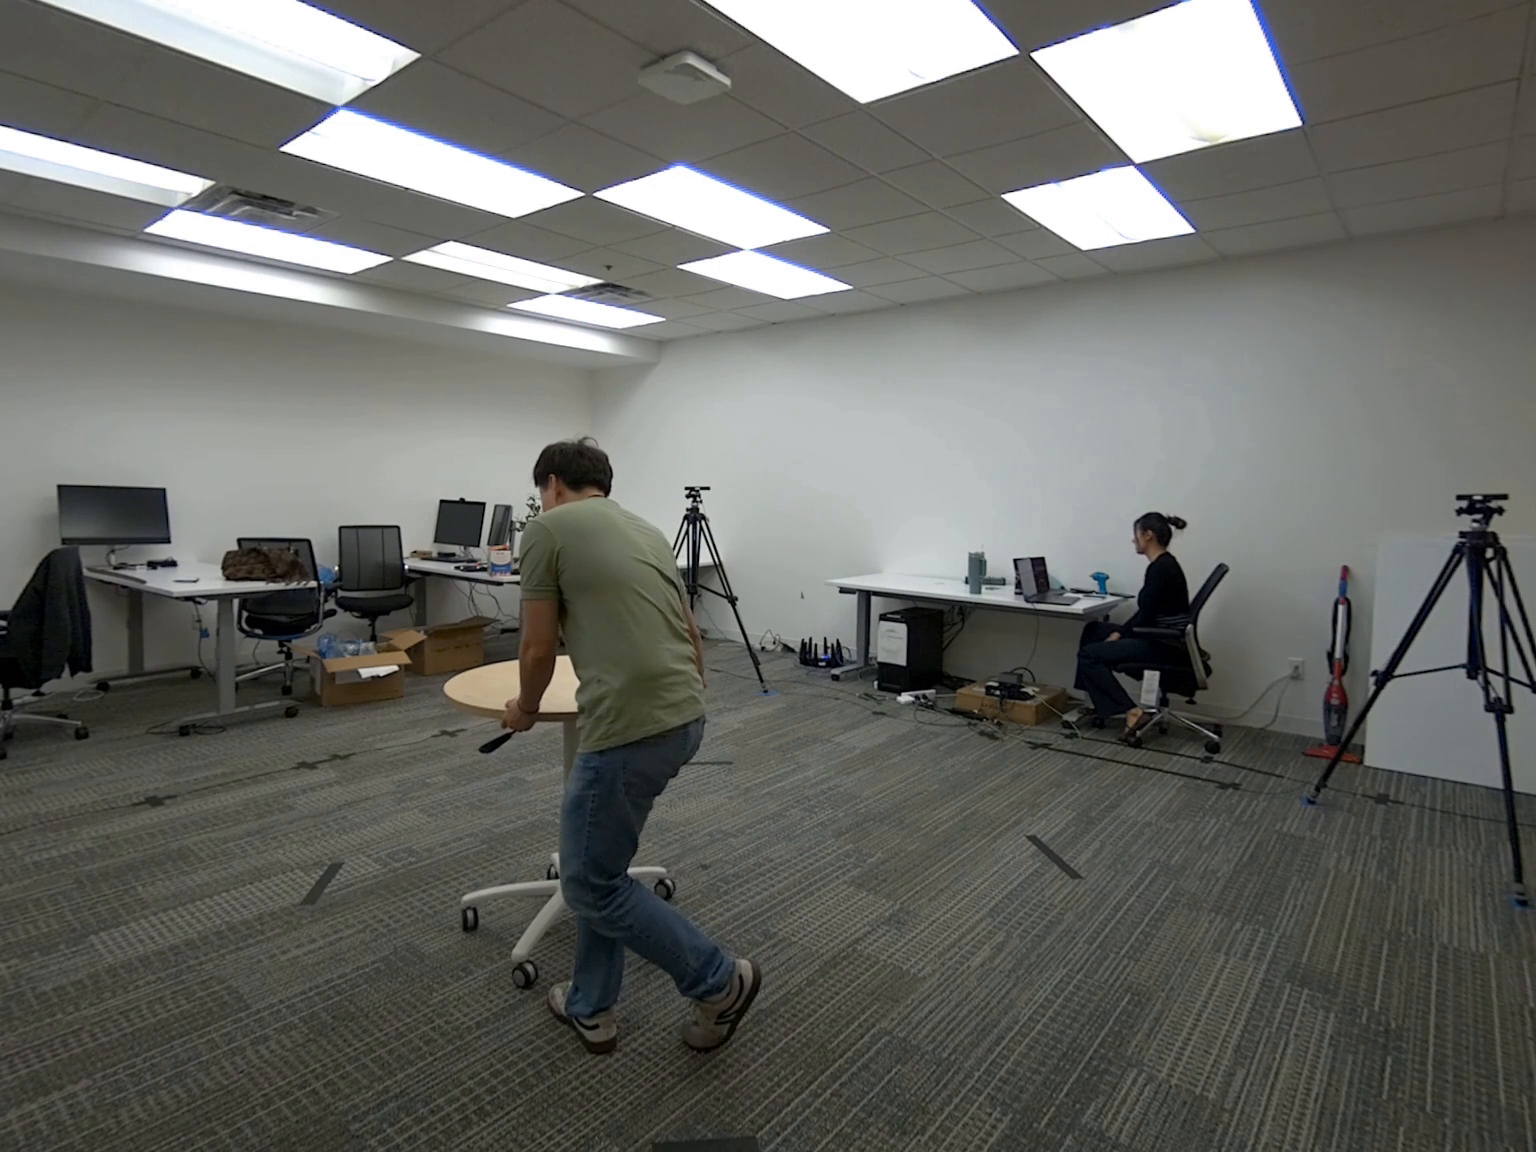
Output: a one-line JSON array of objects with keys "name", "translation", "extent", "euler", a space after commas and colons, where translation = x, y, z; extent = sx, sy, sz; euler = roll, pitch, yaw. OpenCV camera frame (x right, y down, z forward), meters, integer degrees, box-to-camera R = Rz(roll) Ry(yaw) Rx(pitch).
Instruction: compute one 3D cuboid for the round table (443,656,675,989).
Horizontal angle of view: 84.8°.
[{"name": "round table", "translation": [-0.613, 0.712, 2.667], "extent": [0.763, 0.791, 0.768], "euler": [0, 5, -2]}]
